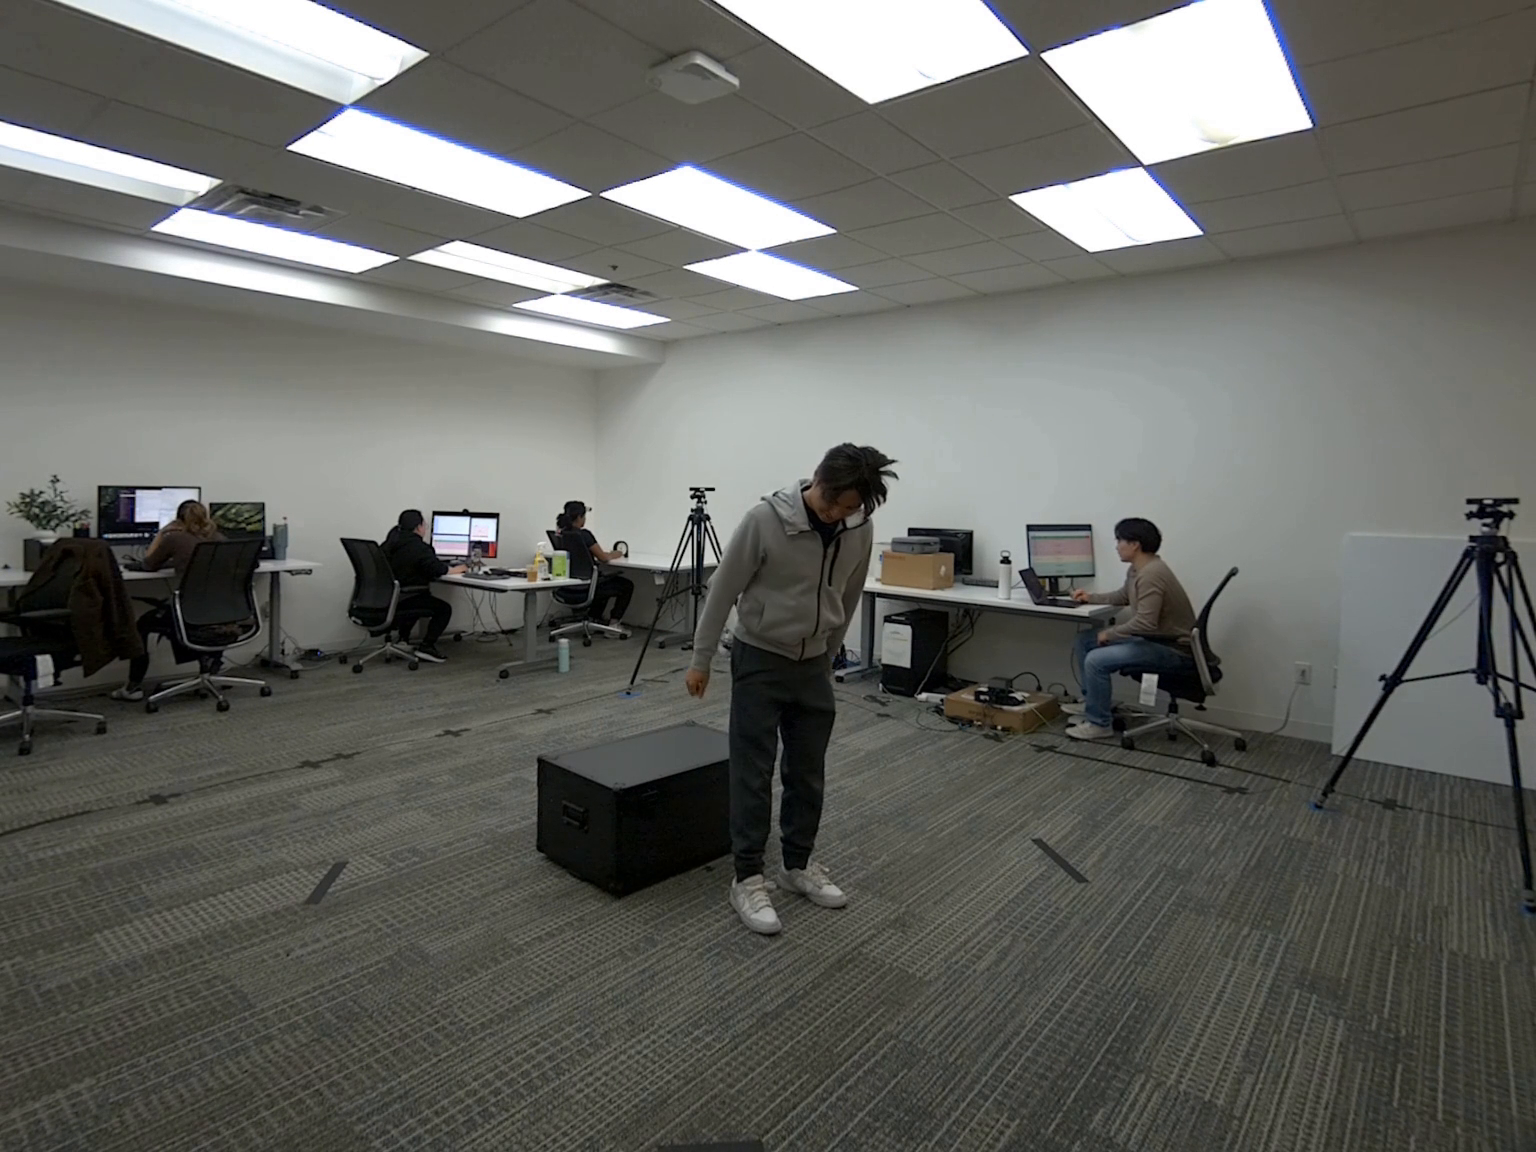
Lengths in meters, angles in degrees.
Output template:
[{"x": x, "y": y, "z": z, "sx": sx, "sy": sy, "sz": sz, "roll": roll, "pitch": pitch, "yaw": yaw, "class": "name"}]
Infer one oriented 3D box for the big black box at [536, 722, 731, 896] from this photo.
[{"x": -0.417, "y": 0.855, "z": 3.294, "sx": 0.539, "sy": 0.395, "sz": 0.836, "roll": 6, "pitch": 7, "yaw": 43, "class": "big black box"}]
